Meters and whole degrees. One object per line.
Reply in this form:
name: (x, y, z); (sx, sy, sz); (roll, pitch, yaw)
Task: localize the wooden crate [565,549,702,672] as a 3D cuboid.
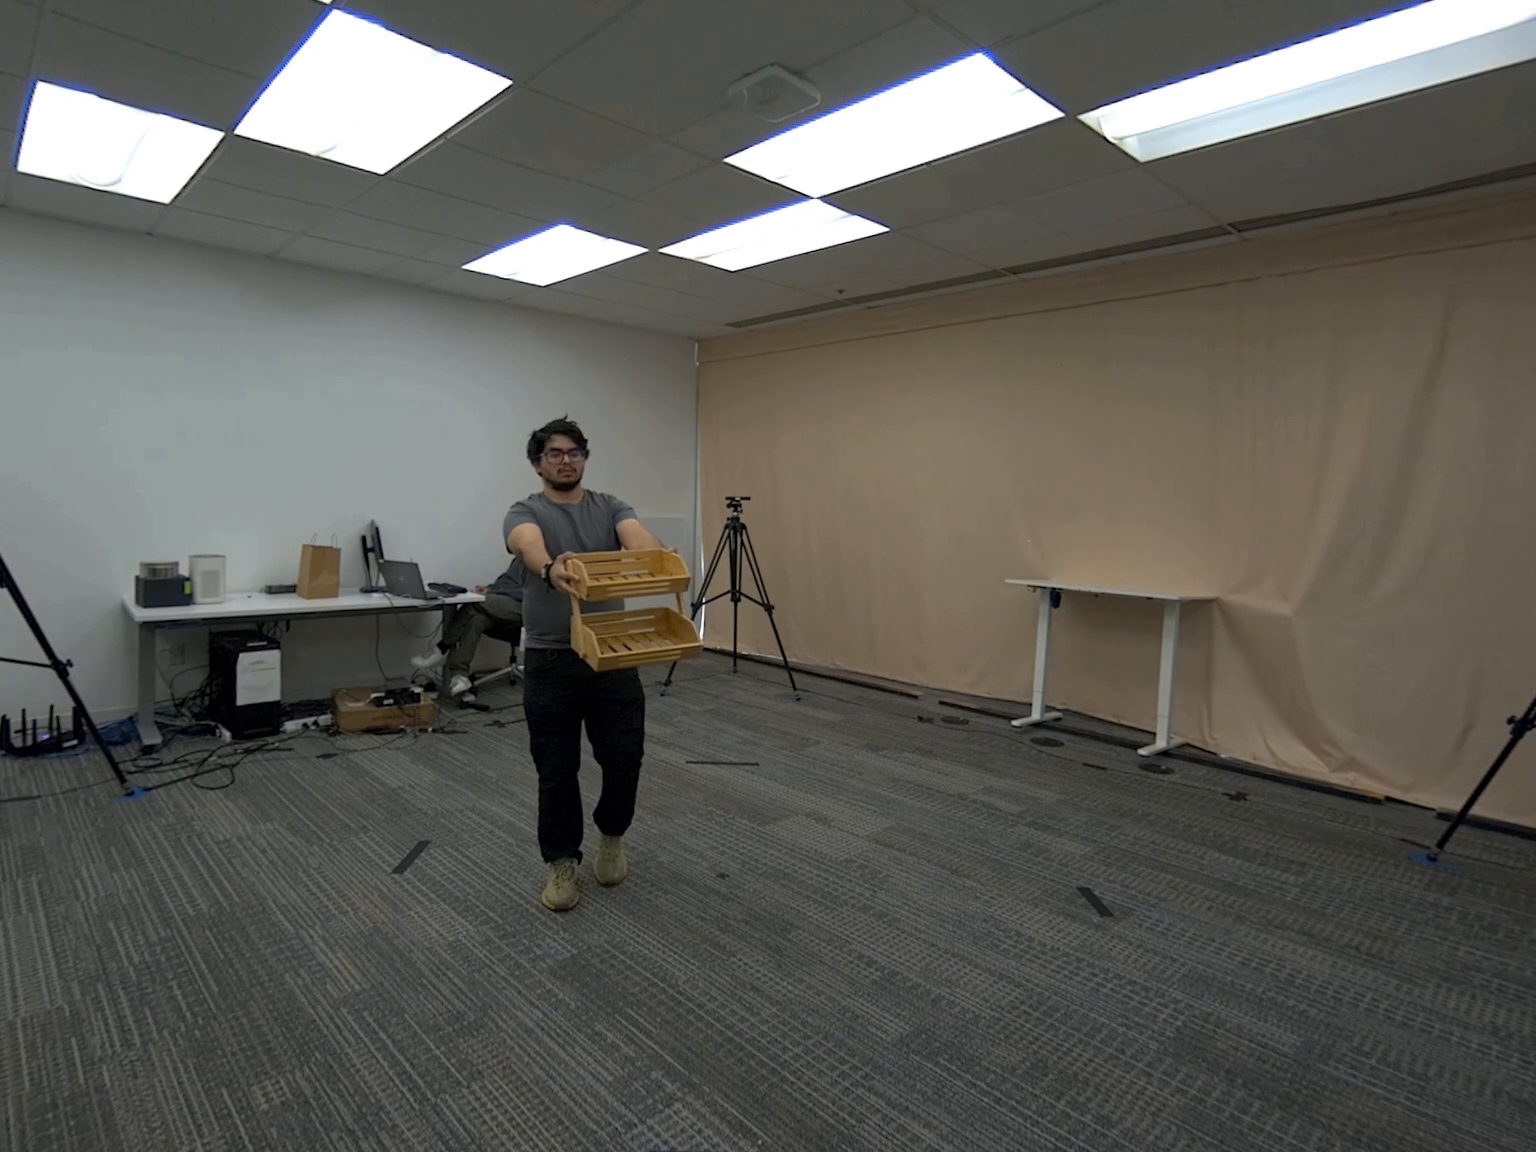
wooden crate: (-0.384, 0.087, 2.356); (0.318, 0.271, 0.310); (-4, 12, -29)
